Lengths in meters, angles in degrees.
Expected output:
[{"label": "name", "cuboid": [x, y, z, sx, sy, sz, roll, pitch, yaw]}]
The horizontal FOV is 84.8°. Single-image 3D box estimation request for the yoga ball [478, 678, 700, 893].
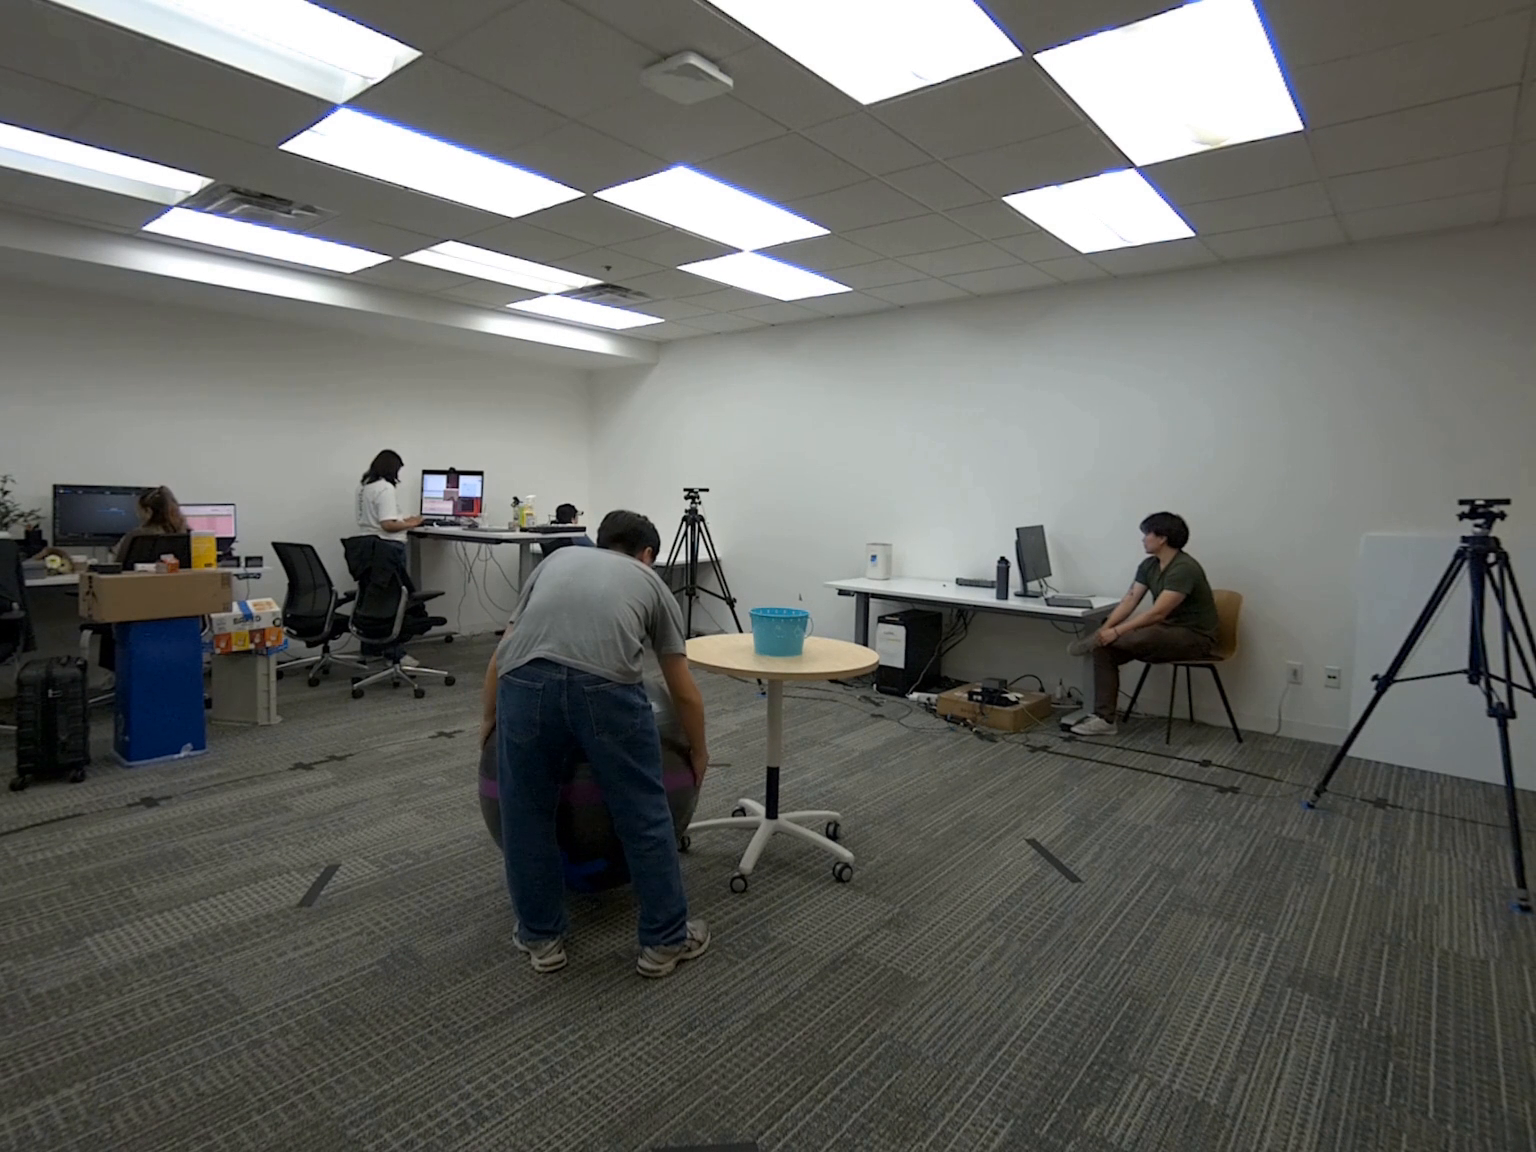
[{"label": "yoga ball", "cuboid": [-0.636, 0.672, 2.912, 0.757, 0.755, 0.762, 1, 4, -2]}]
